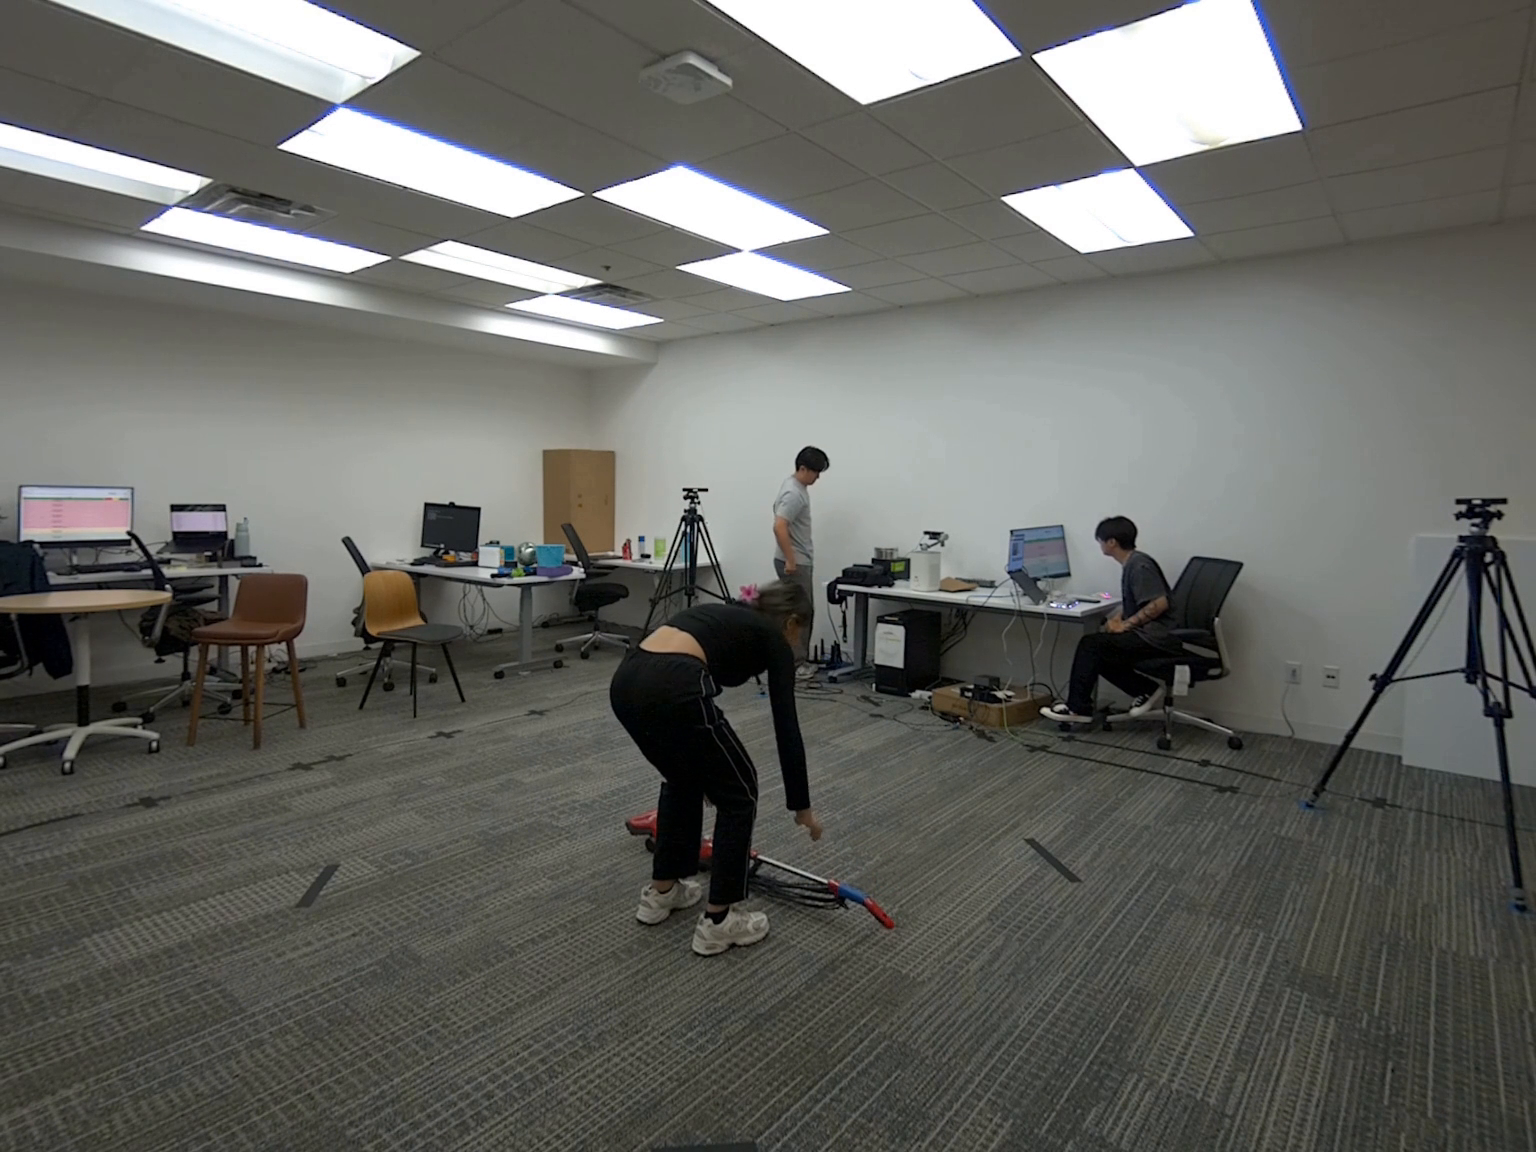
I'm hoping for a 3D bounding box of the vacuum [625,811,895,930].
[{"bbox_3d":[-0.040,1.028,2.974,1.085,0.143,0.246,7,12,39],"label":"vacuum"}]
